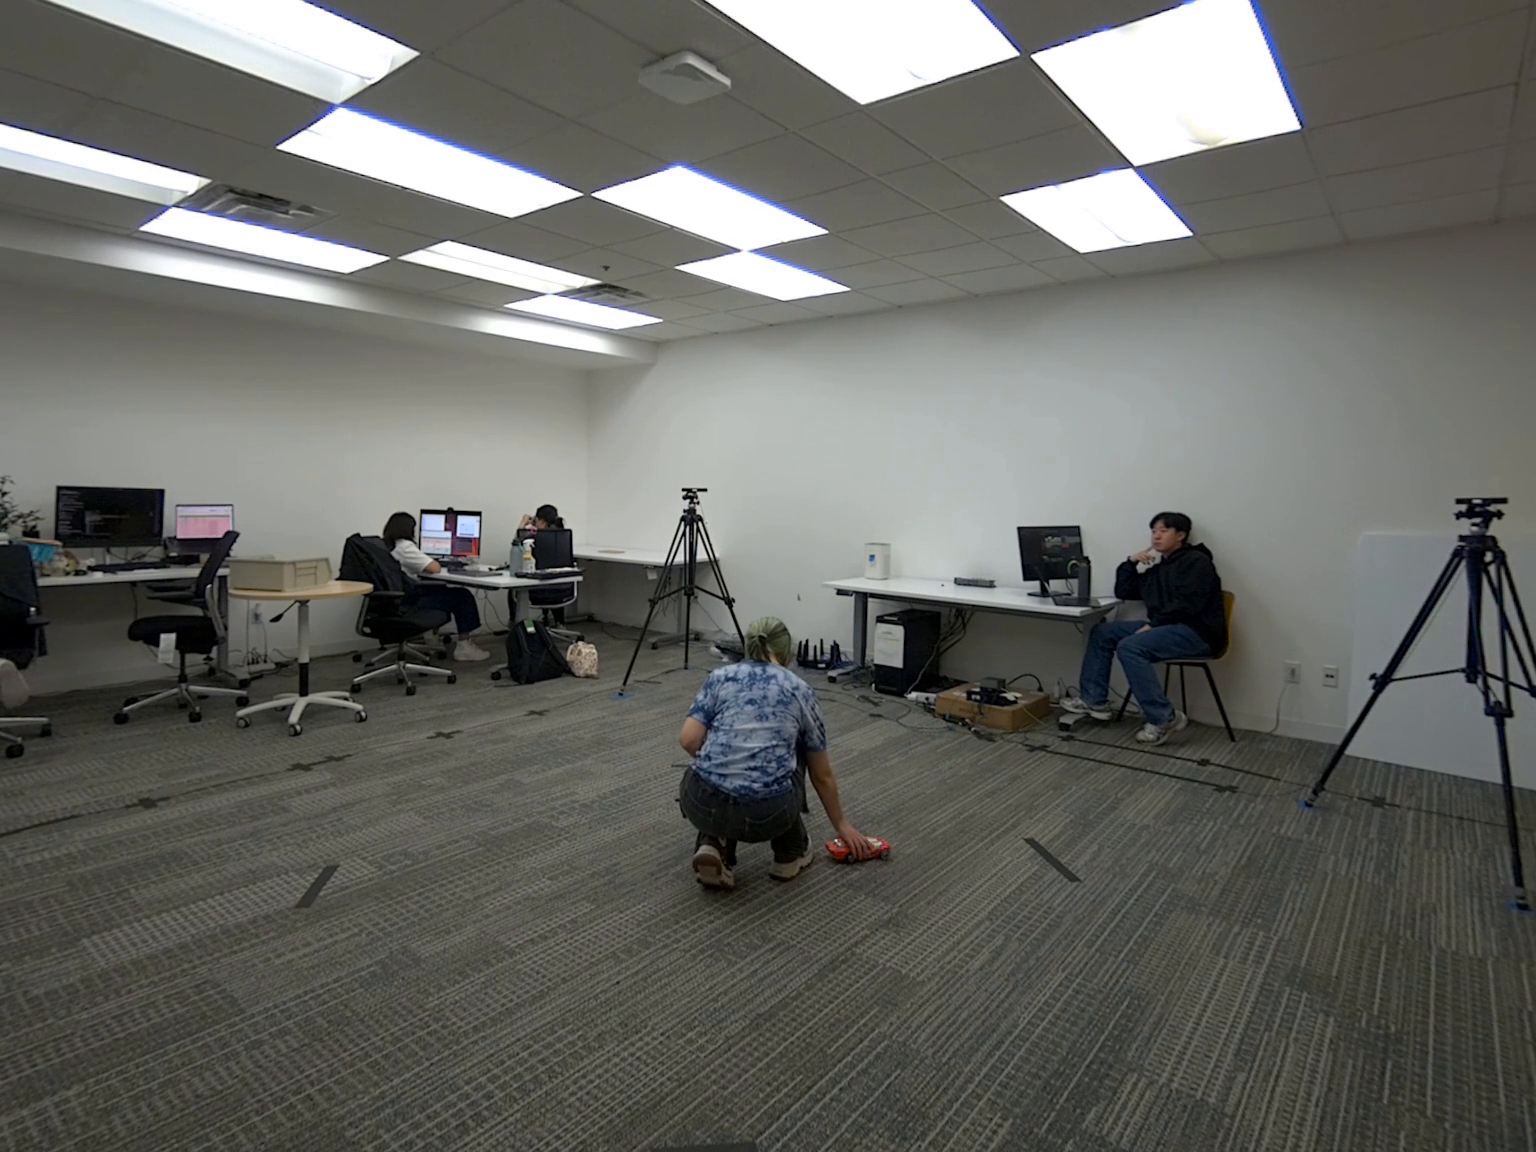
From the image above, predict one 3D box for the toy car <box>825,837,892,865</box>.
[{"bbox_3d":[0.332,1.041,3.236,0.249,0.083,0.133,9,4,-19],"label":"toy car"}]
